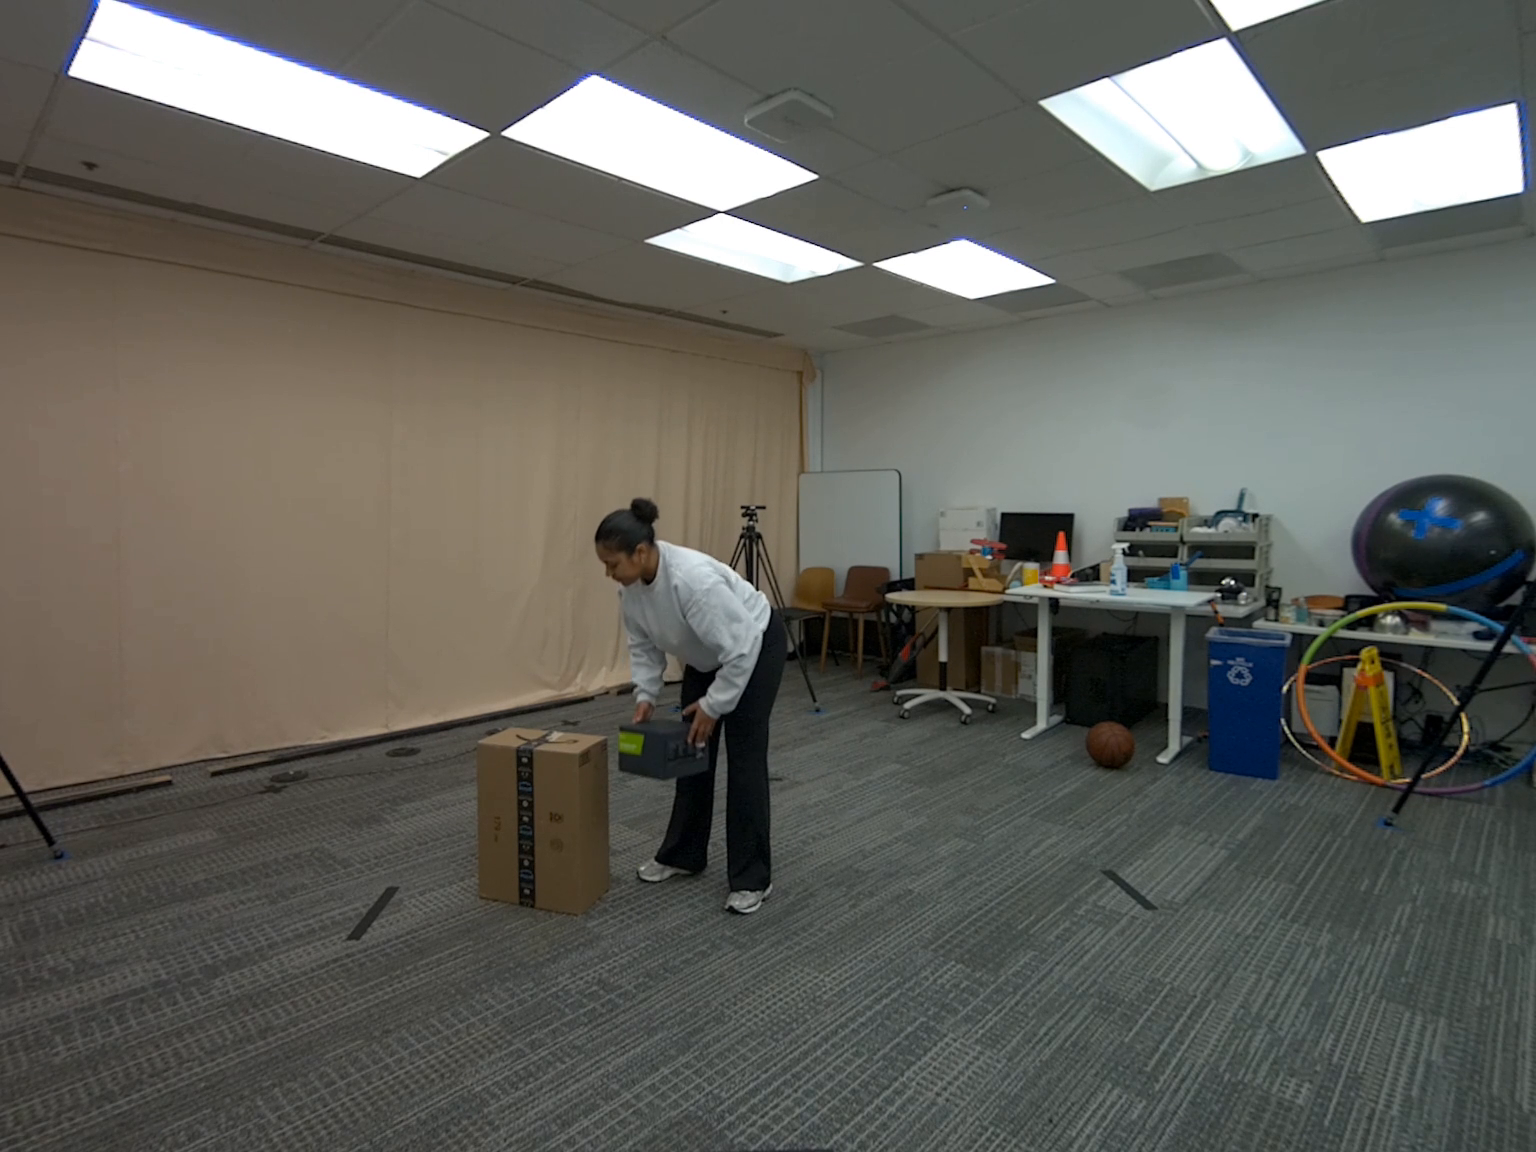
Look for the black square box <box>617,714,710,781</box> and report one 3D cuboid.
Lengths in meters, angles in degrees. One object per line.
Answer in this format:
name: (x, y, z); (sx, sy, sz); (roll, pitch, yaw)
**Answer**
black square box: (-0.364, 0.596, 2.882); (0.235, 0.156, 0.210); (-1, -1, 40)
